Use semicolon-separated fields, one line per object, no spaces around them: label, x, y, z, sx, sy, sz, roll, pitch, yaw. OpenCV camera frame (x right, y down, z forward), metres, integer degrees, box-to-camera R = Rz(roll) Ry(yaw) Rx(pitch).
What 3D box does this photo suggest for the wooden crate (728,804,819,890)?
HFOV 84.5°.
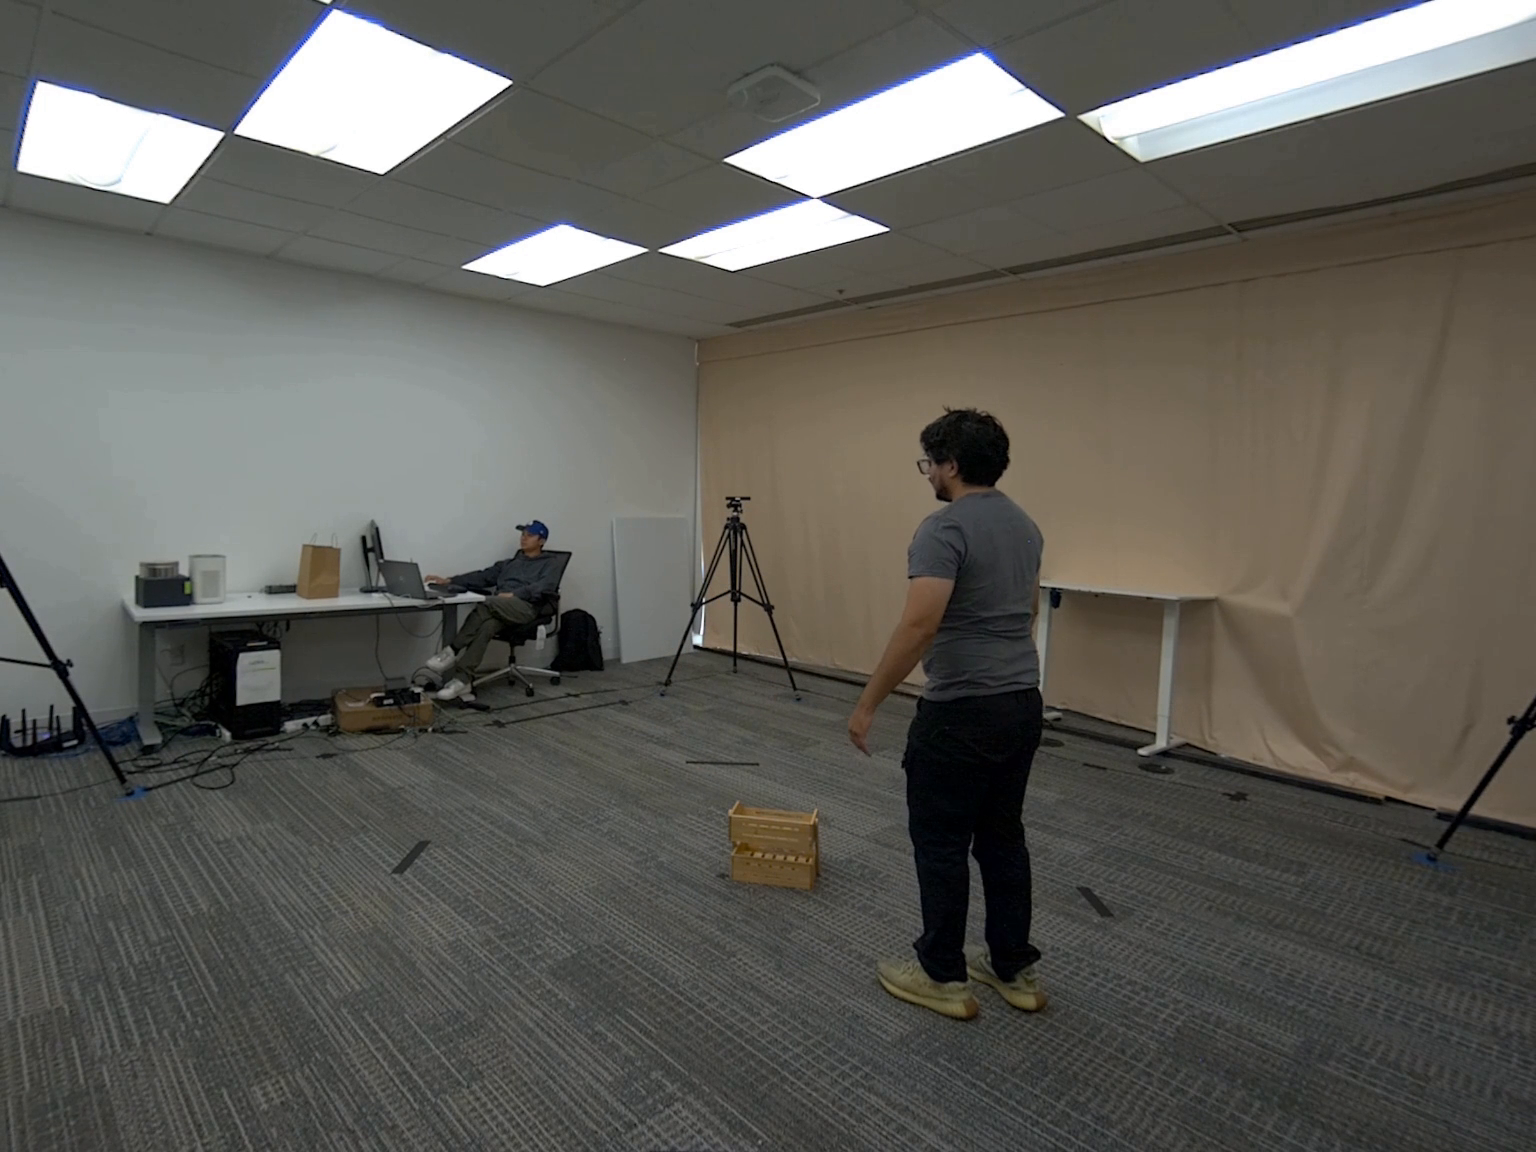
wooden crate;0.027;0.973;3.129;0.327;0.272;0.300;2;5;11
